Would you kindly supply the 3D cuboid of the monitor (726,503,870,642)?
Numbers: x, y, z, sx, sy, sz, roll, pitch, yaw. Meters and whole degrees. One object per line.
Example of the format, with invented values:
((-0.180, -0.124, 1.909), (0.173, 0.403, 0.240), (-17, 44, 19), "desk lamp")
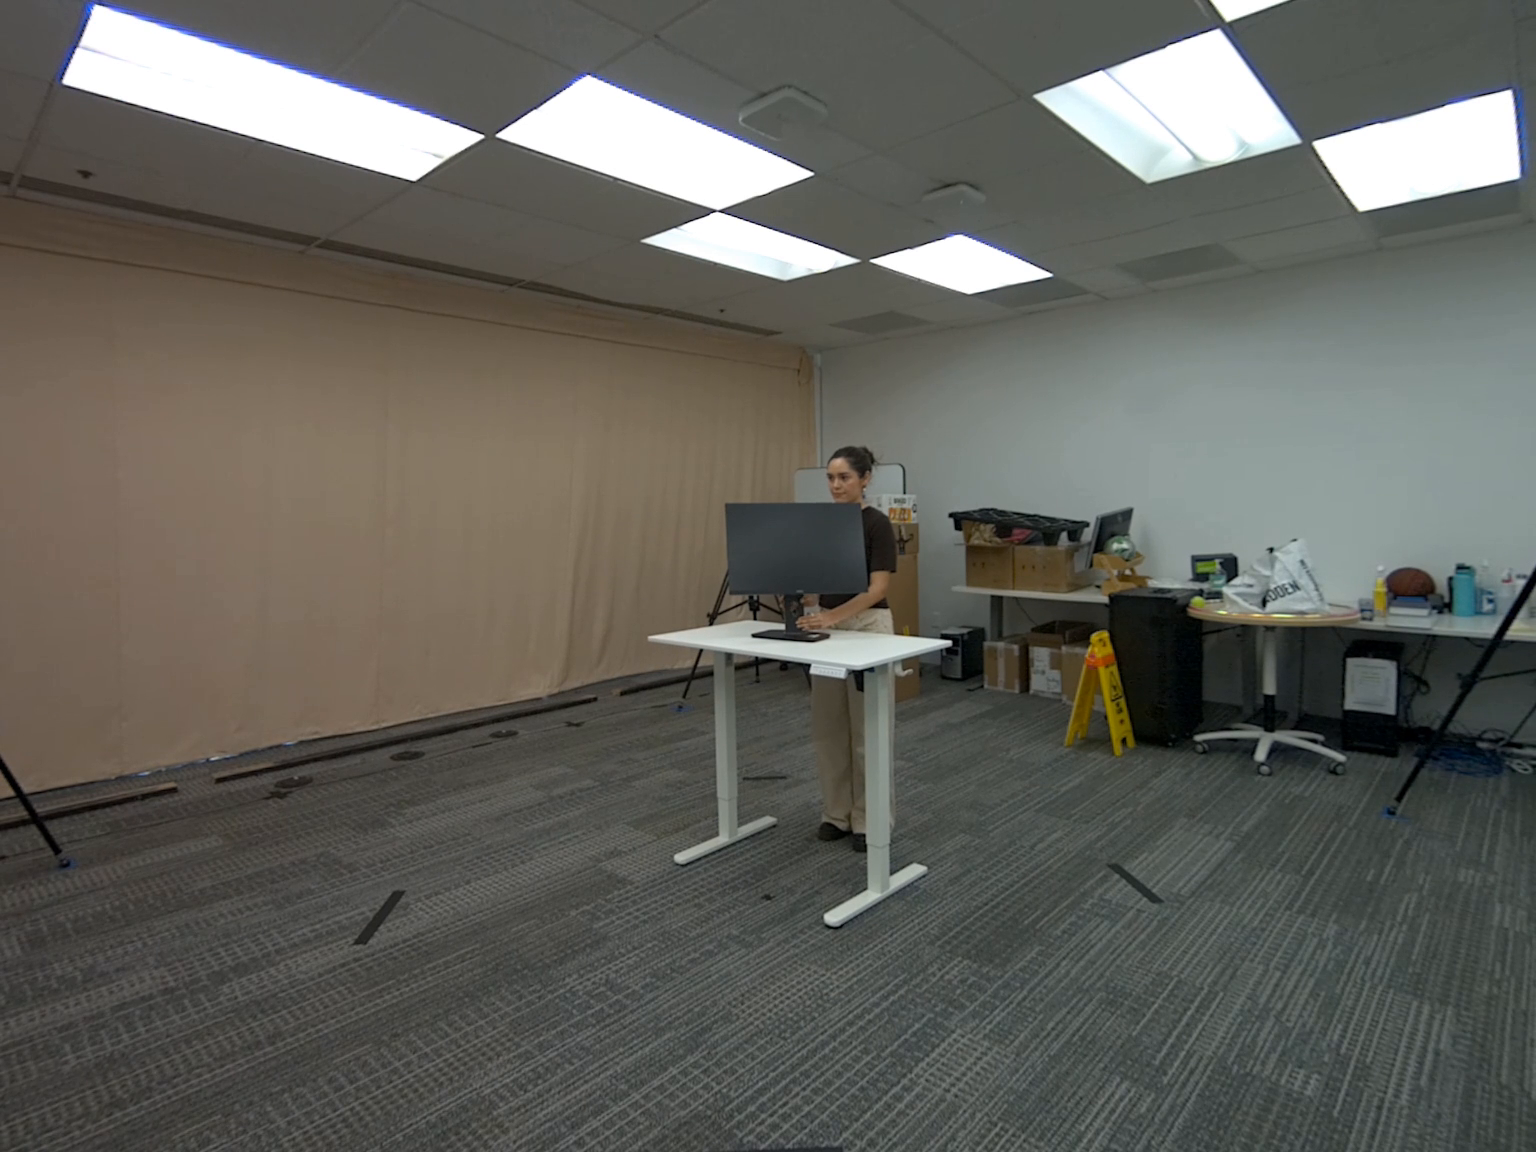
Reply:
((0.107, -0.018, 3.215), (0.532, 0.523, 0.189), (1, -2, -12), "monitor")
